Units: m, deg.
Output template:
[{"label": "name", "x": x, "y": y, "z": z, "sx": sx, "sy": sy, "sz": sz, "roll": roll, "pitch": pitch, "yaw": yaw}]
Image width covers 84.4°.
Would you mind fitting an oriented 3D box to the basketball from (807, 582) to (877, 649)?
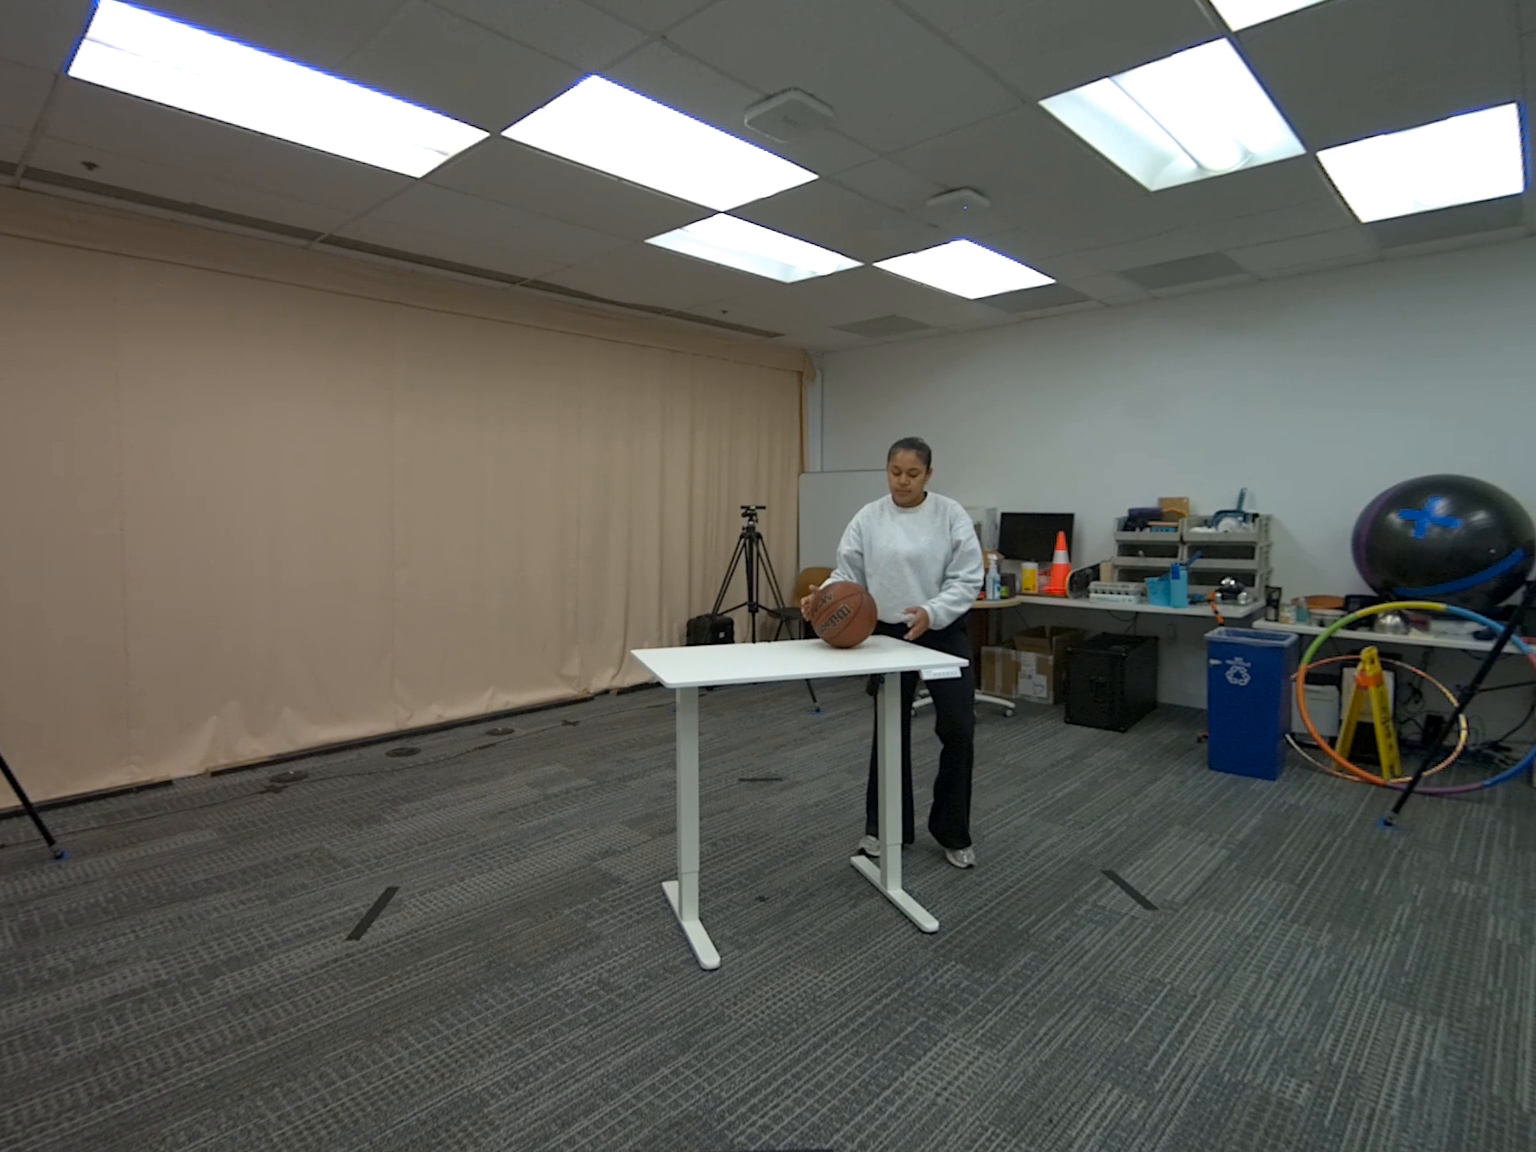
[{"label": "basketball", "x": 0.274, "y": 0.135, "z": 3.016, "sx": 0.236, "sy": 0.235, "sz": 0.237, "roll": 0, "pitch": 4, "yaw": -2}]
